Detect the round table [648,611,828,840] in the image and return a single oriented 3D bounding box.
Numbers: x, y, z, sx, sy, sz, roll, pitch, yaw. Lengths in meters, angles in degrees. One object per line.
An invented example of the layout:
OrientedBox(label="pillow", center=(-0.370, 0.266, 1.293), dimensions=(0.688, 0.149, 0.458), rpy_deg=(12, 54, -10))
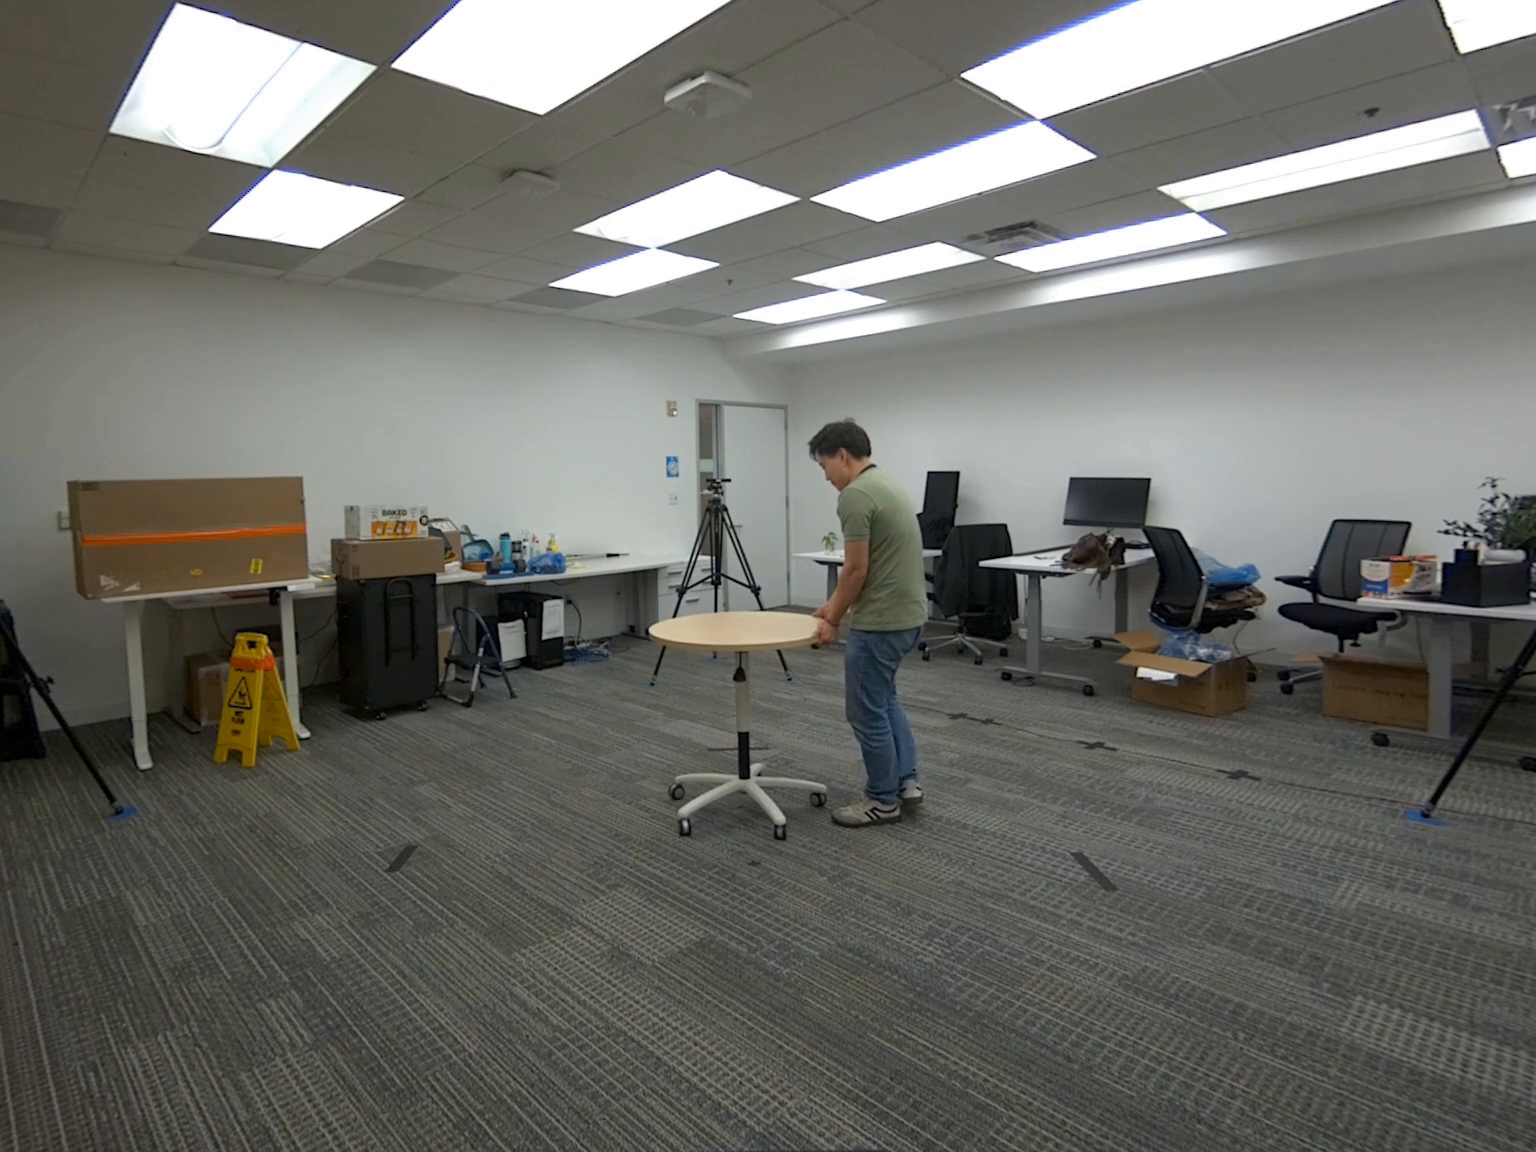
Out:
OrientedBox(label="round table", center=(-0.109, 0.600, 3.584), dimensions=(0.763, 0.791, 0.768), rpy_deg=(-1, 5, -2))
